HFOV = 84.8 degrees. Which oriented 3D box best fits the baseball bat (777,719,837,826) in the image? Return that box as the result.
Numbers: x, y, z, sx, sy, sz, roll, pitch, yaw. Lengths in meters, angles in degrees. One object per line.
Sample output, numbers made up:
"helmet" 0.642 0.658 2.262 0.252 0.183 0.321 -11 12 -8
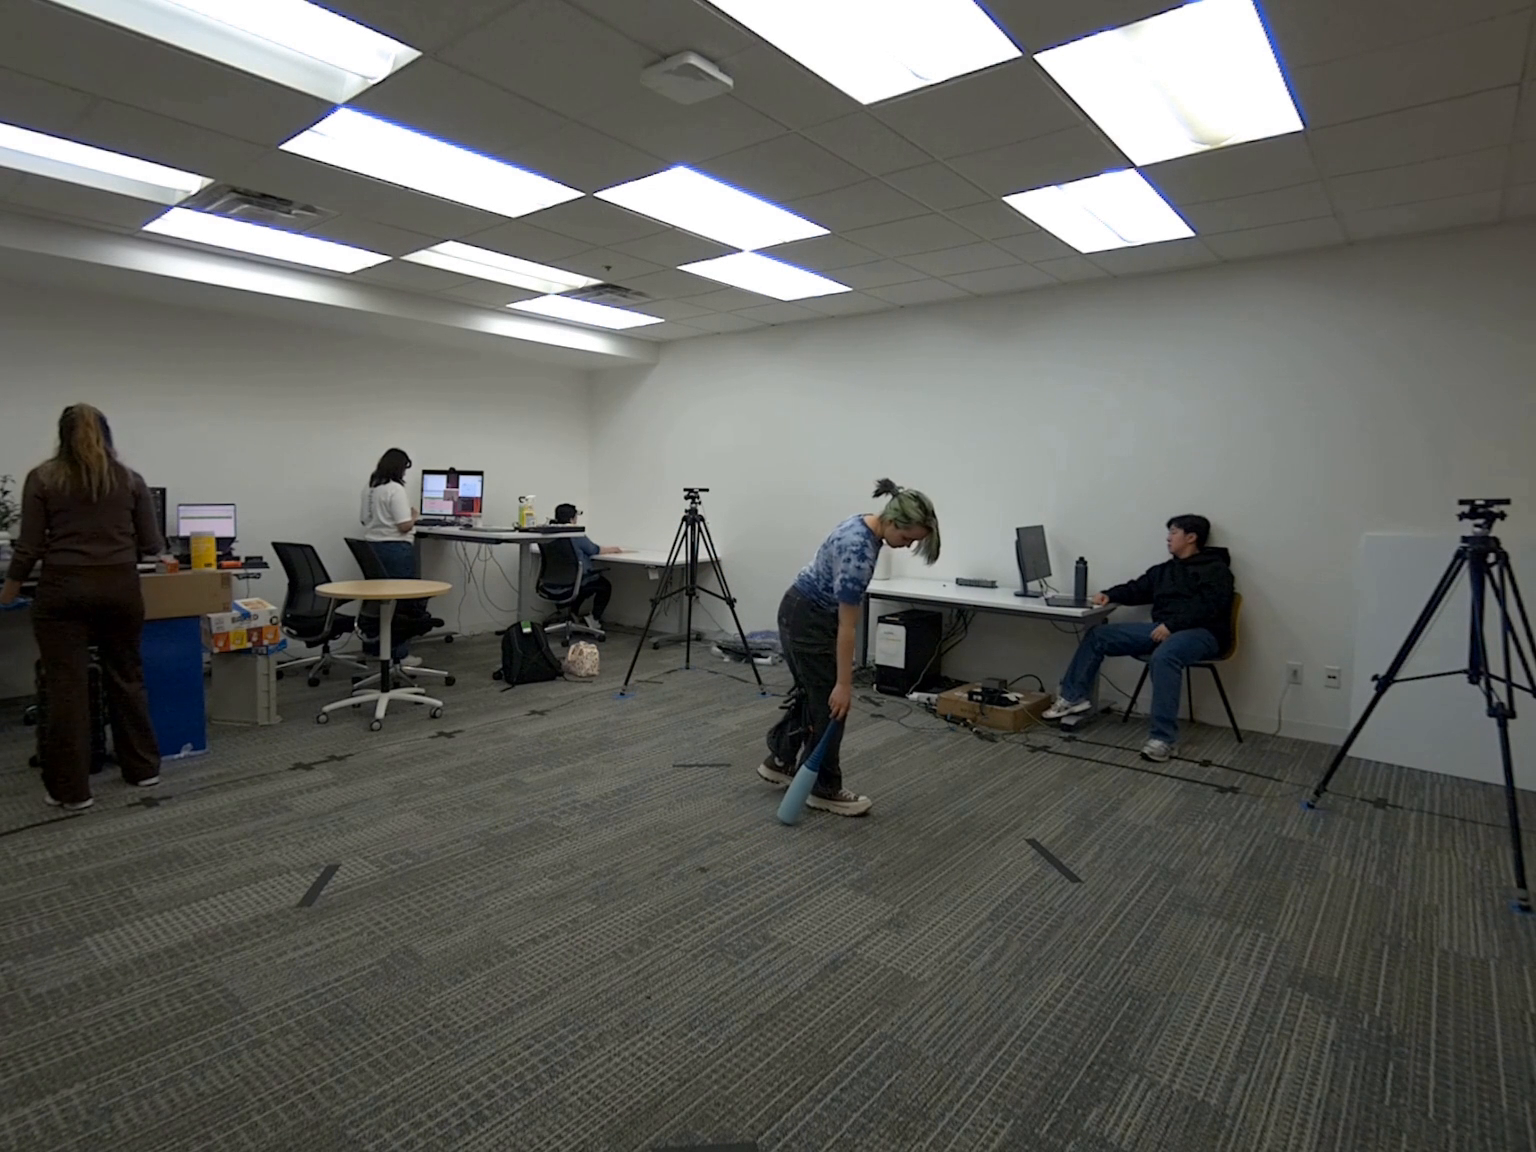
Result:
"baseball bat" 0.174 0.782 3.542 0.089 0.542 0.089 27 4 -4
